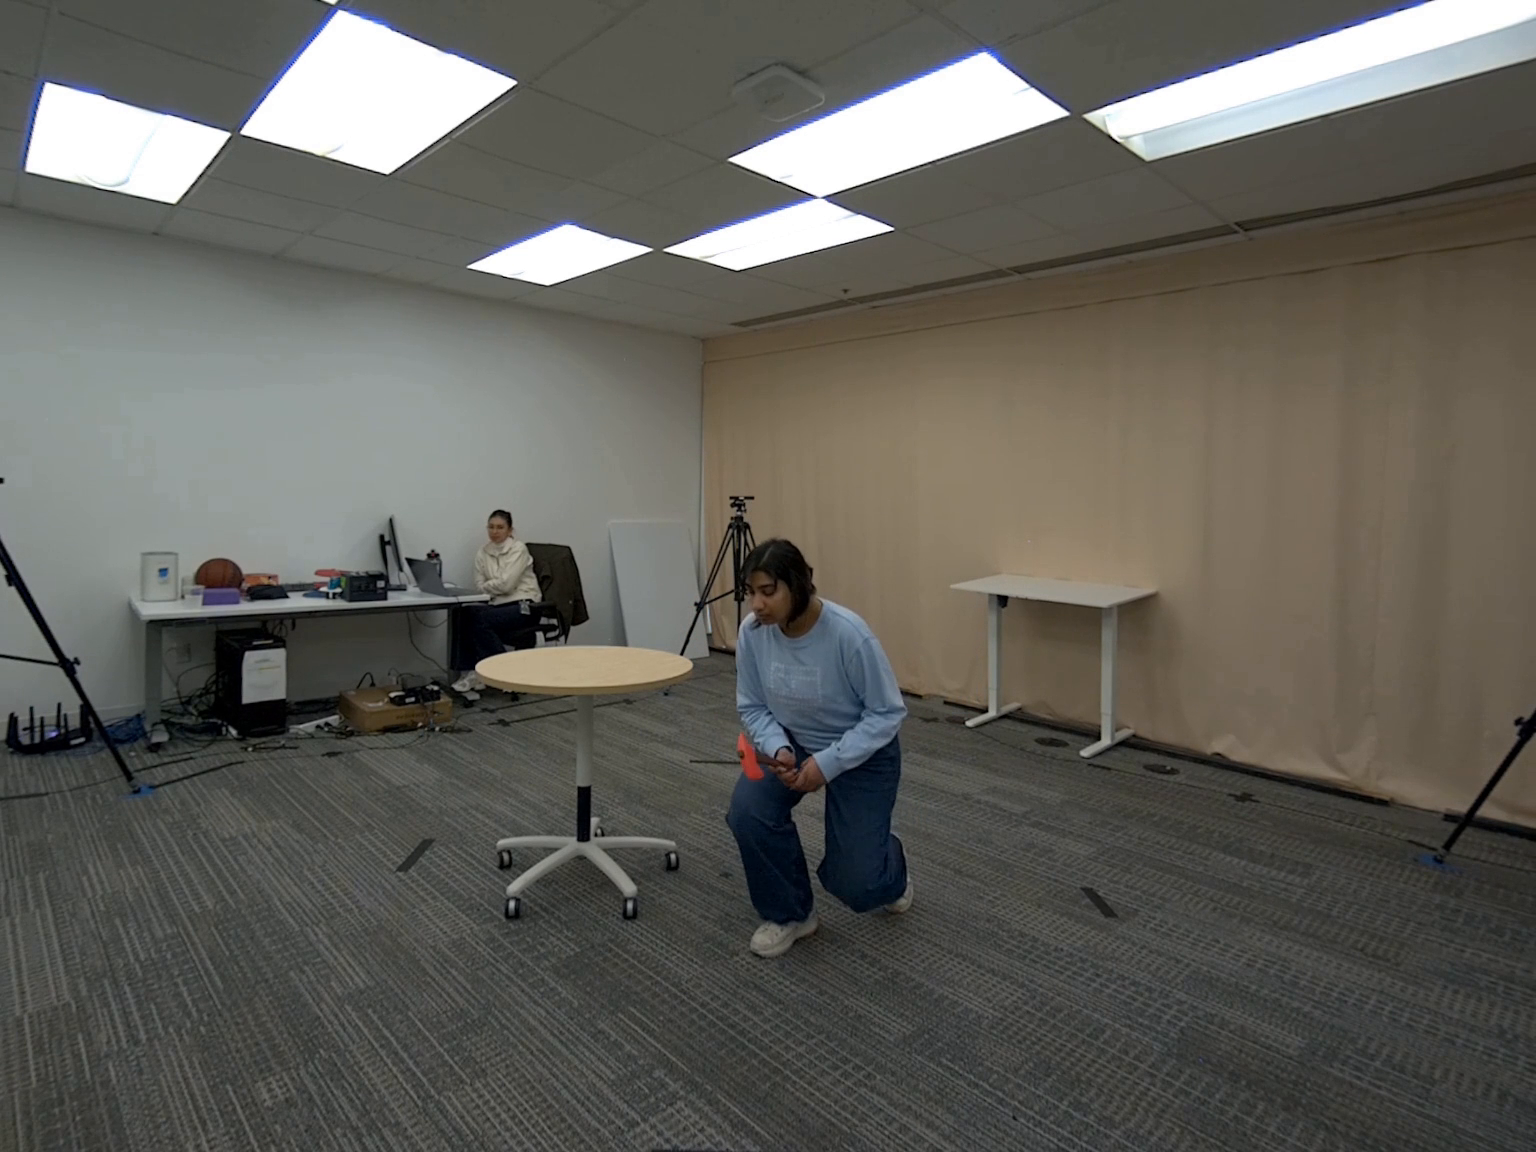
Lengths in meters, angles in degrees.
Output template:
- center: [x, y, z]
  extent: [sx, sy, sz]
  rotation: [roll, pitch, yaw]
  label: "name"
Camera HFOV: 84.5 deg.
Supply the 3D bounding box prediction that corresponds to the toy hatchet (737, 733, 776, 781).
- center: [-0.009, 0.541, 2.339]
  extent: [0.030, 0.134, 0.263]
  rotation: [-35, -58, 25]
  label: "toy hatchet"
